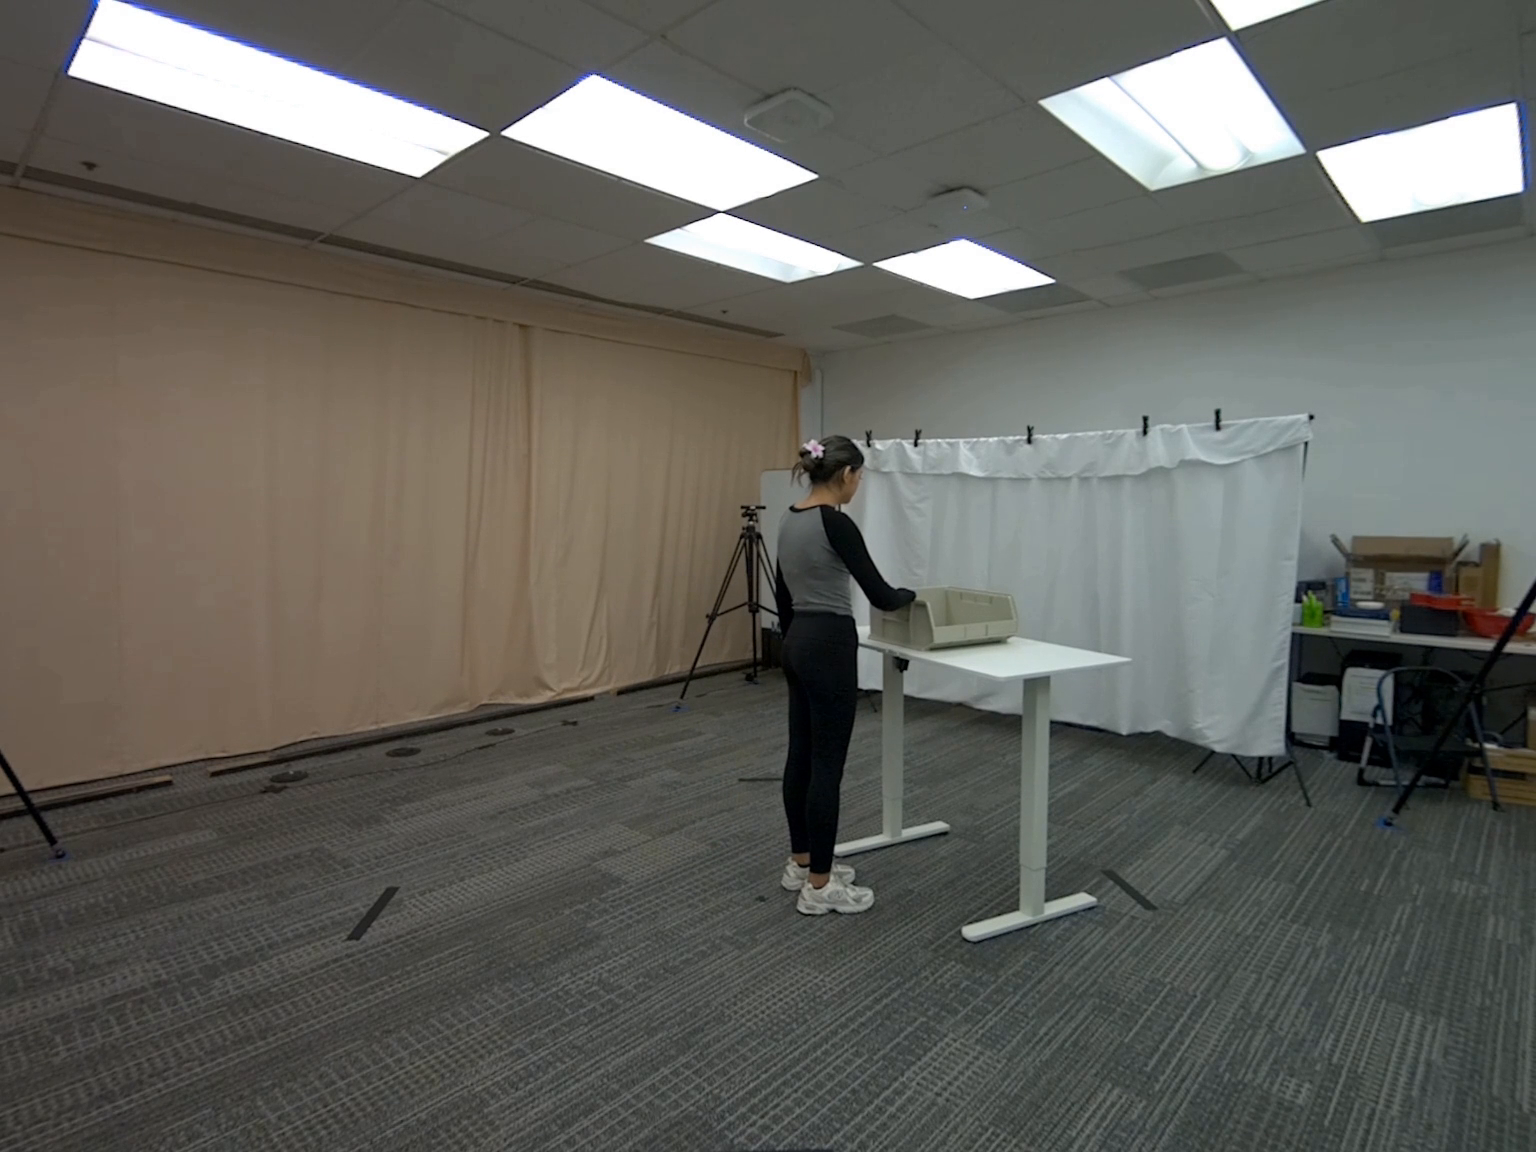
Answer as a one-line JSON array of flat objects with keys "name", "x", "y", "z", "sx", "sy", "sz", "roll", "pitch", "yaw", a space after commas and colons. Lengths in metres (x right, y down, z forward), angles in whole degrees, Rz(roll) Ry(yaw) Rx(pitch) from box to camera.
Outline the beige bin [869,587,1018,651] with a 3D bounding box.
[{"name": "beige bin", "x": 0.657, "y": 0.162, "z": 3.145, "sx": 0.411, "sy": 0.188, "sz": 0.388, "roll": -4, "pitch": 5, "yaw": -31}]
